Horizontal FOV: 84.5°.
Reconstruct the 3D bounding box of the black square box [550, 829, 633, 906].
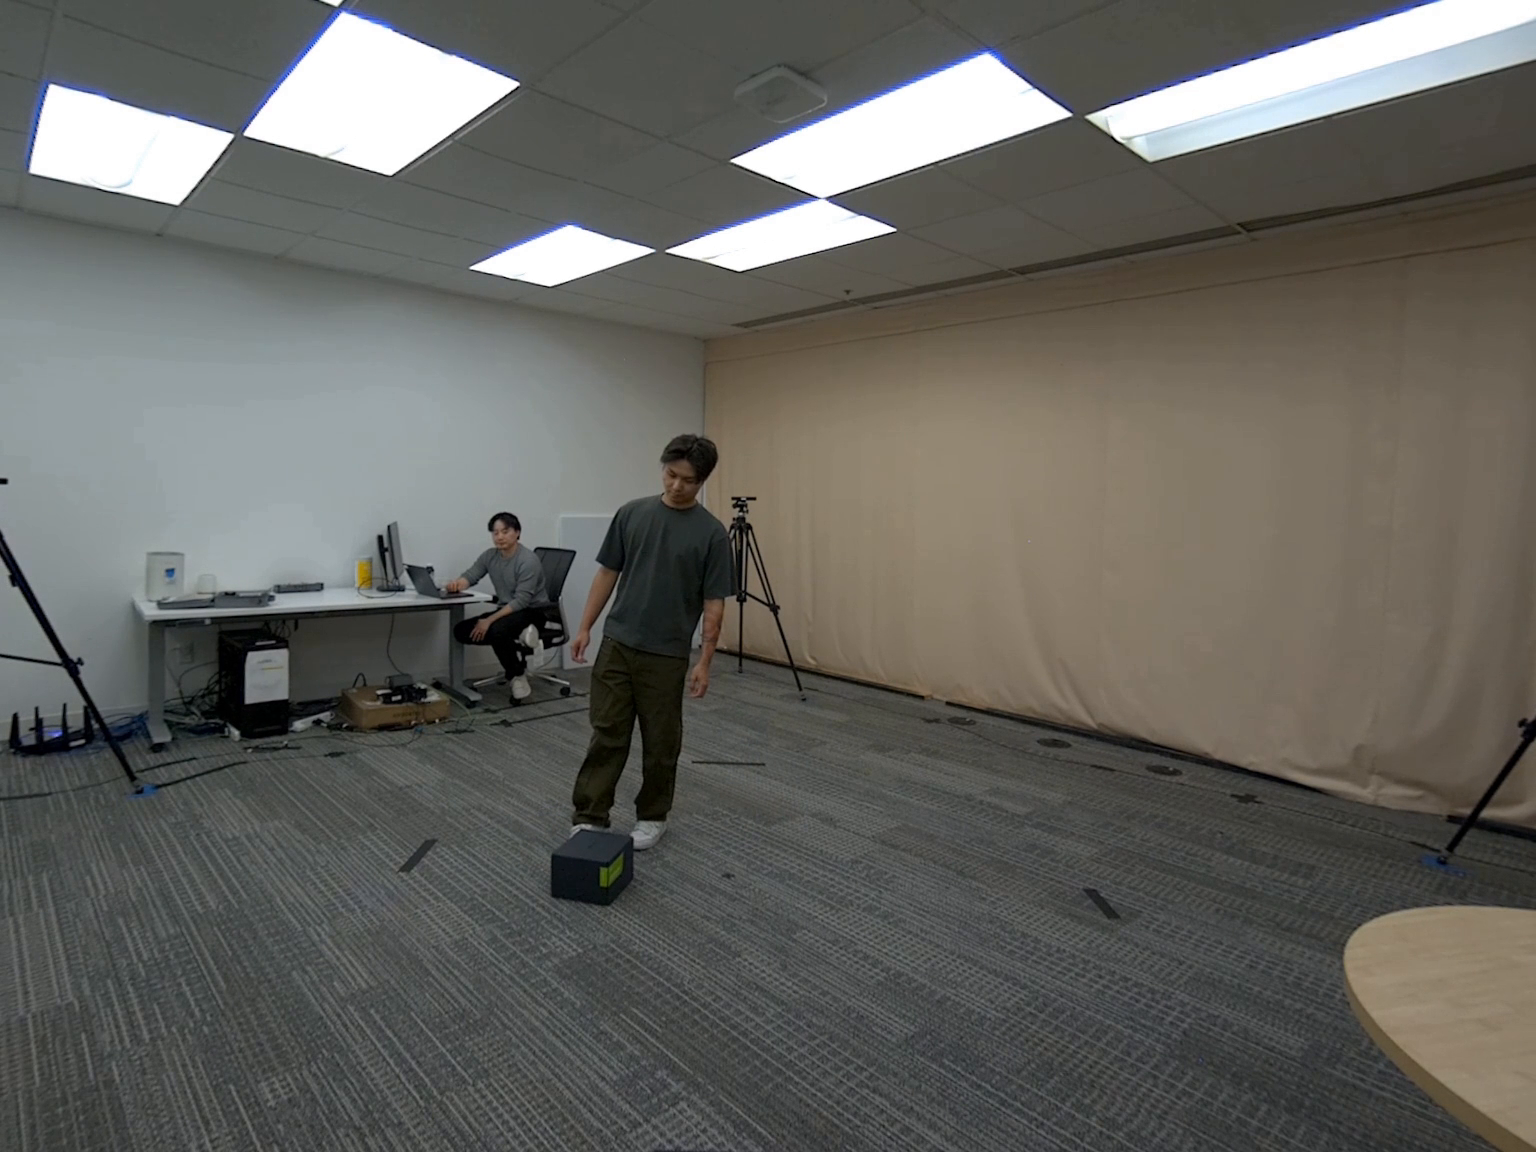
[{"bbox_3d":[-0.635,1.023,2.980,0.219,0.155,0.226,3,5,14],"label":"black square box"}]
